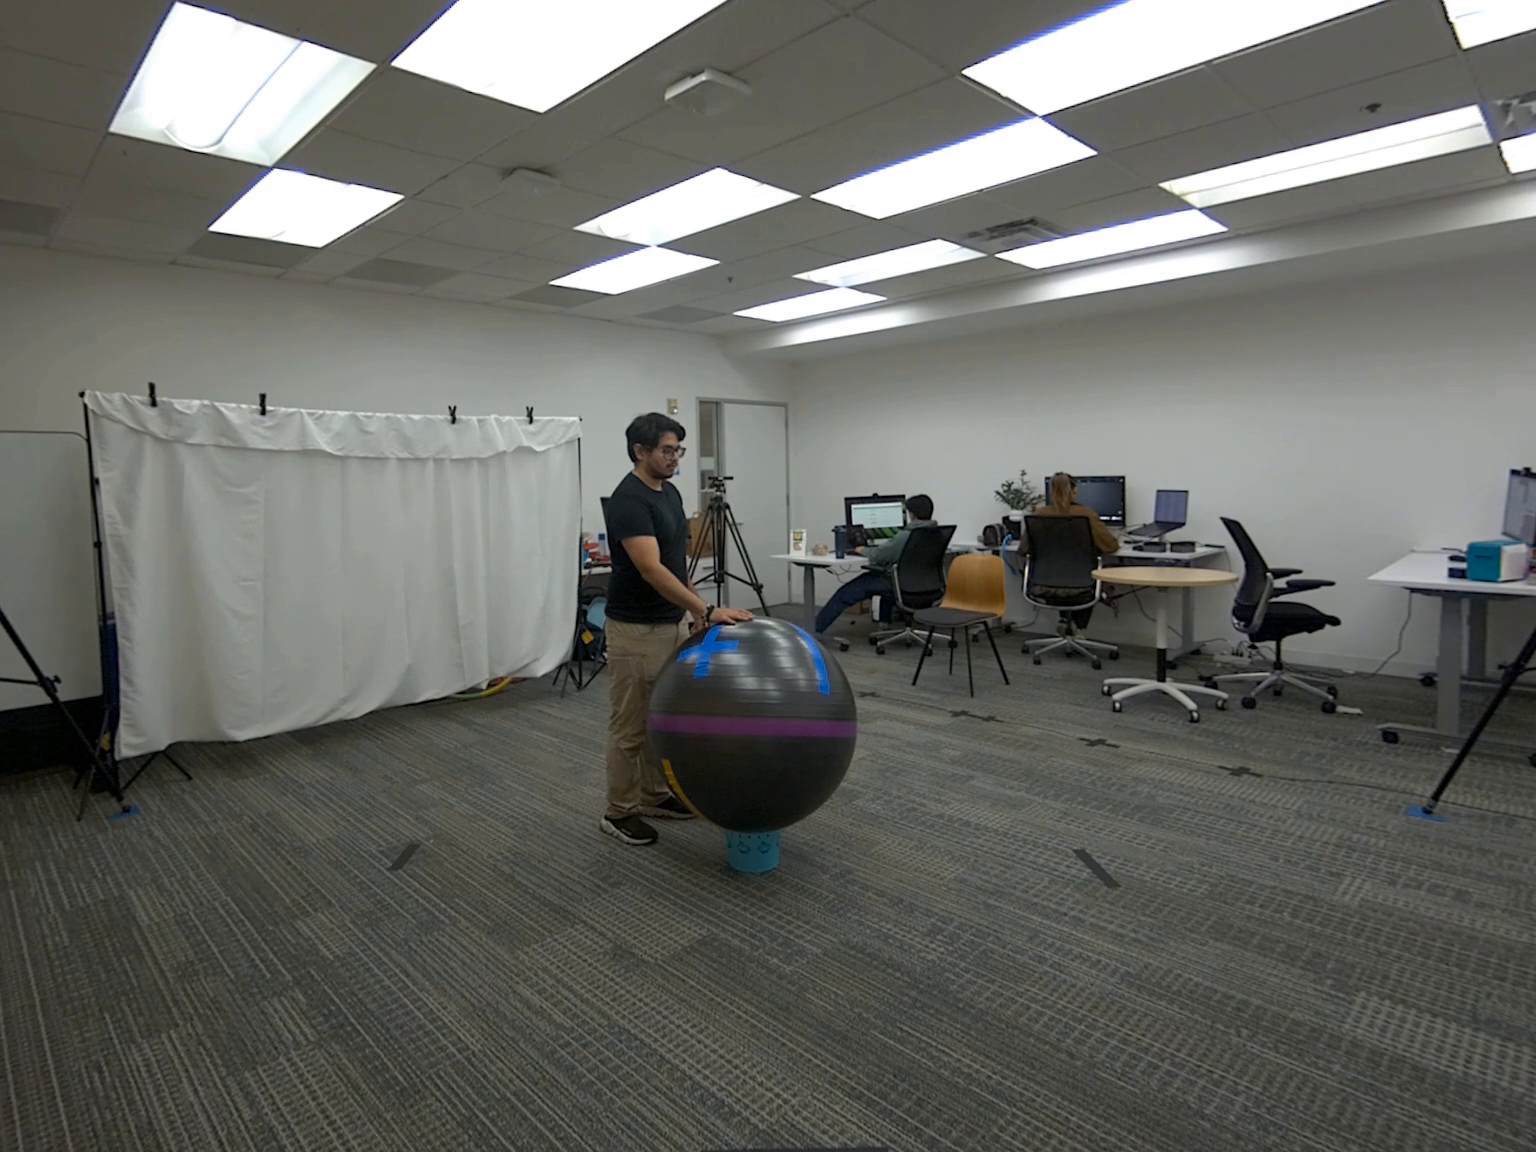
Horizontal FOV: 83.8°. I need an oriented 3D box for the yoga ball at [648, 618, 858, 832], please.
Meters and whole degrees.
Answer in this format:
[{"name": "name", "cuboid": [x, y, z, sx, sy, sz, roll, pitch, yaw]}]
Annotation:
[{"name": "yoga ball", "cuboid": [-0.058, 0.528, 3.097, 0.757, 0.755, 0.762, -1, 5, -2]}]
